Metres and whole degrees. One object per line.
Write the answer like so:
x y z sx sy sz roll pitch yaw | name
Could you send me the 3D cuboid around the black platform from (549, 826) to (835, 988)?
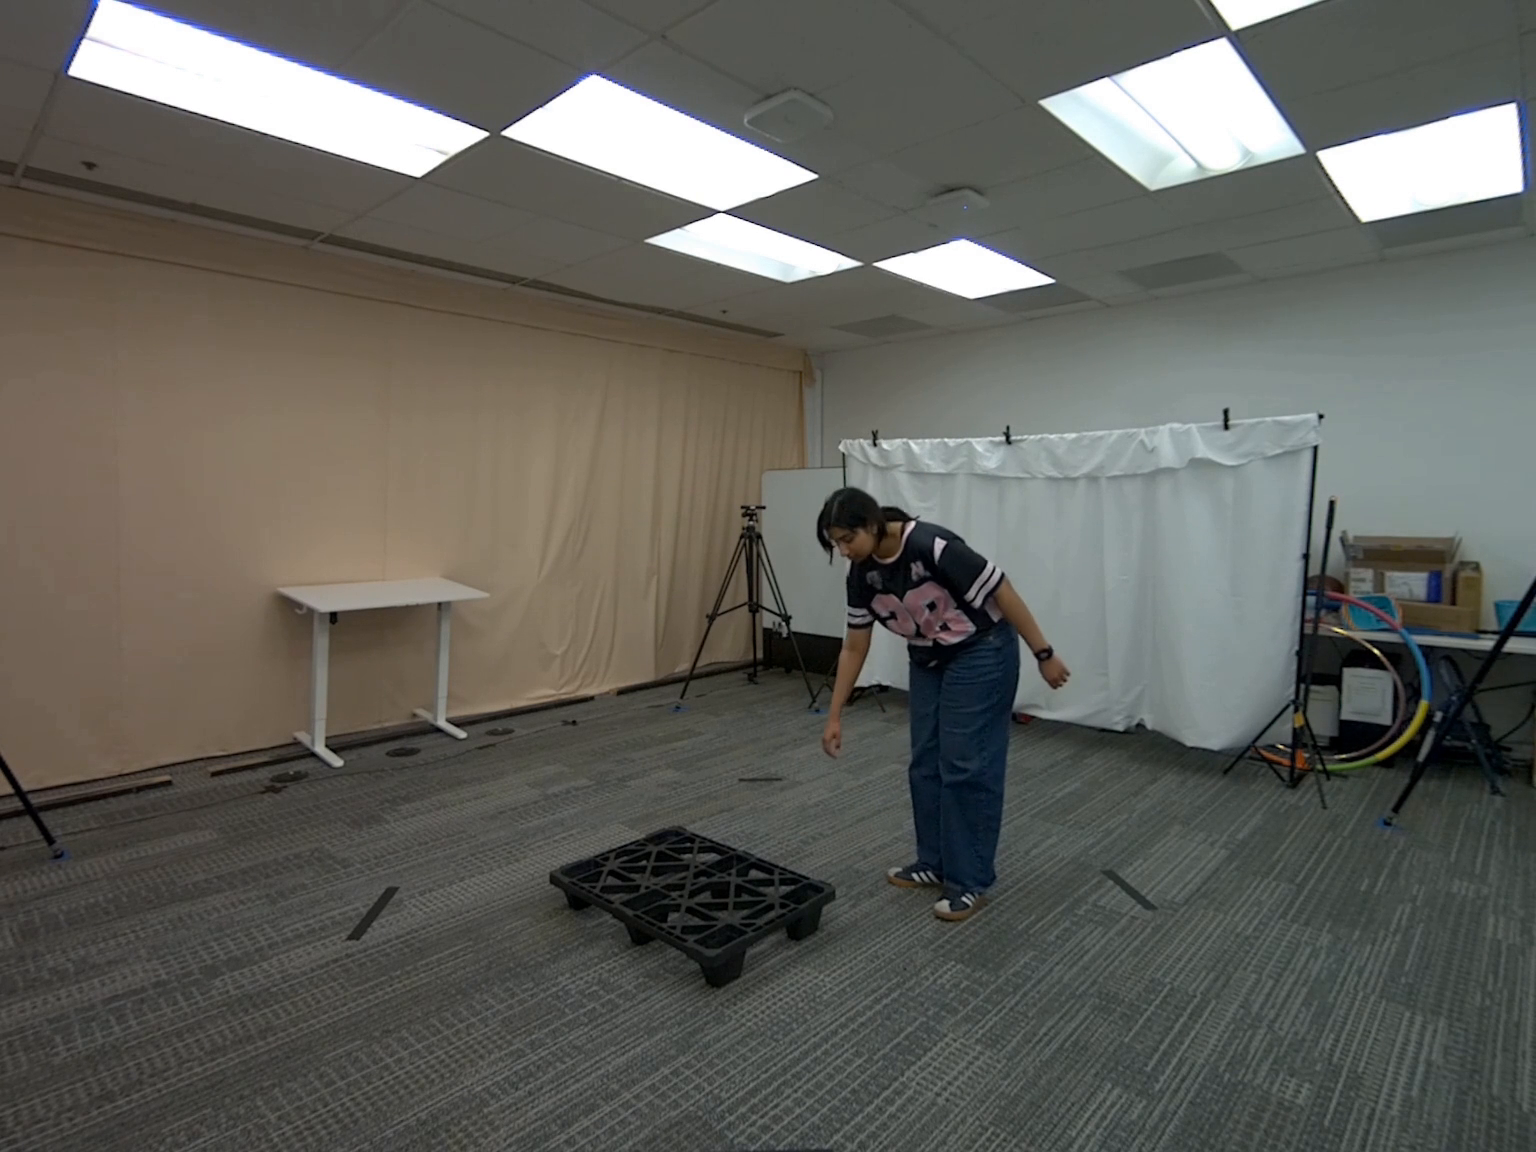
-0.262 1.091 2.840 0.832 0.143 0.587 4 7 43 | black platform
